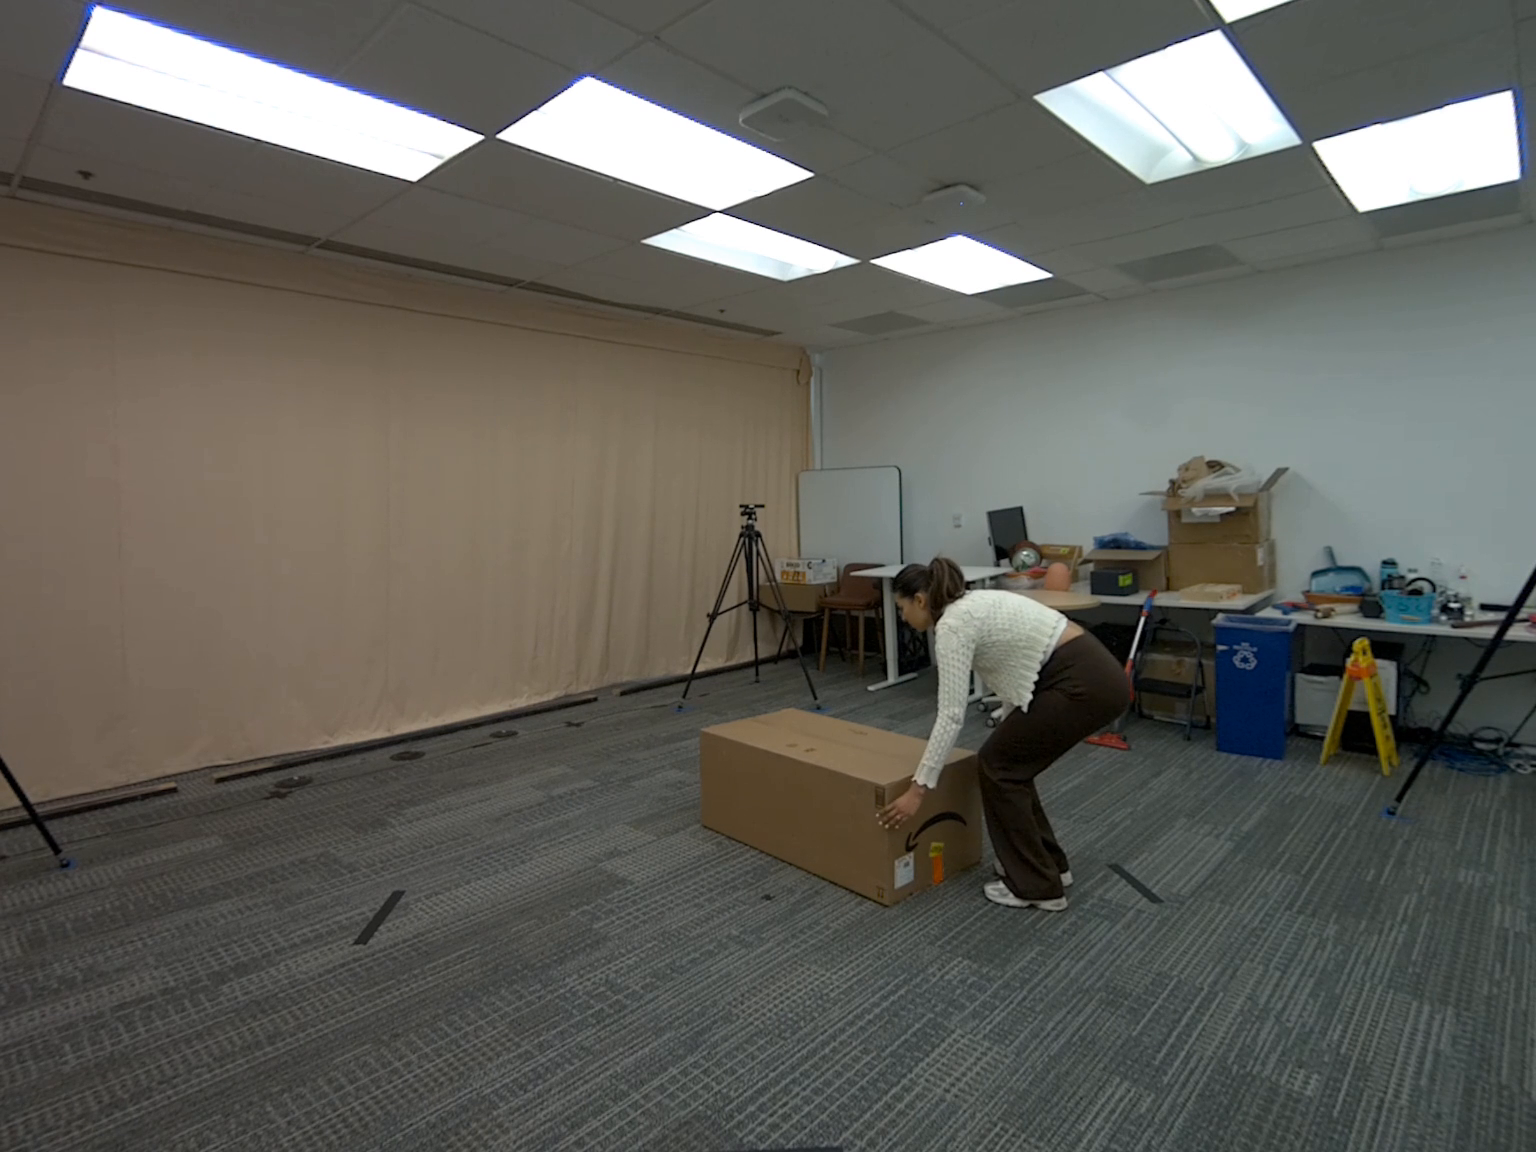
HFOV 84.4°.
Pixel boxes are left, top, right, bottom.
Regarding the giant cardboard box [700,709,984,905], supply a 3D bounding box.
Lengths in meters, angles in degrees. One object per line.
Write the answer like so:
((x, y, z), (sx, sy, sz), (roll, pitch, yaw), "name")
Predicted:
((0.265, 0.883, 3.448), (0.560, 0.425, 1.060), (-4, 6, -41), "giant cardboard box")
